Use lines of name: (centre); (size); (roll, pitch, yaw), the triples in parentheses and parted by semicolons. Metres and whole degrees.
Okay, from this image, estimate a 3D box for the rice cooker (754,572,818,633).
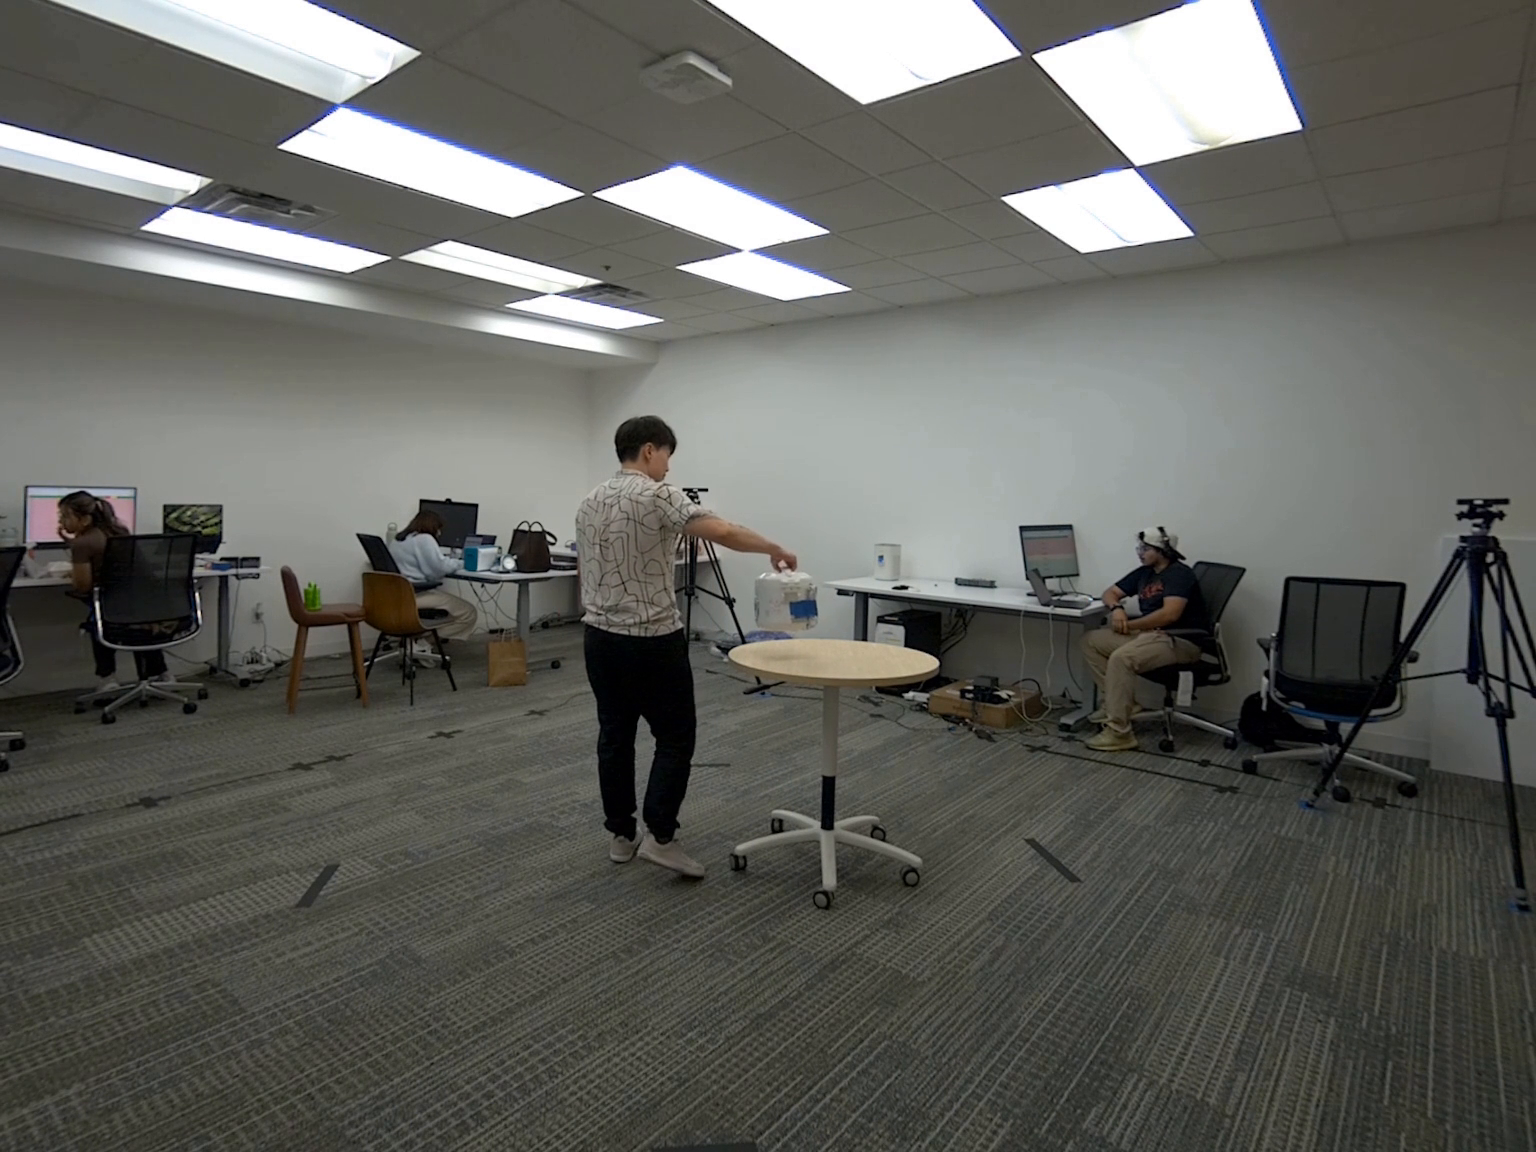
rice cooker: (0.060, 0.082, 3.107); (0.216, 0.233, 0.221); (0, -2, -6)
